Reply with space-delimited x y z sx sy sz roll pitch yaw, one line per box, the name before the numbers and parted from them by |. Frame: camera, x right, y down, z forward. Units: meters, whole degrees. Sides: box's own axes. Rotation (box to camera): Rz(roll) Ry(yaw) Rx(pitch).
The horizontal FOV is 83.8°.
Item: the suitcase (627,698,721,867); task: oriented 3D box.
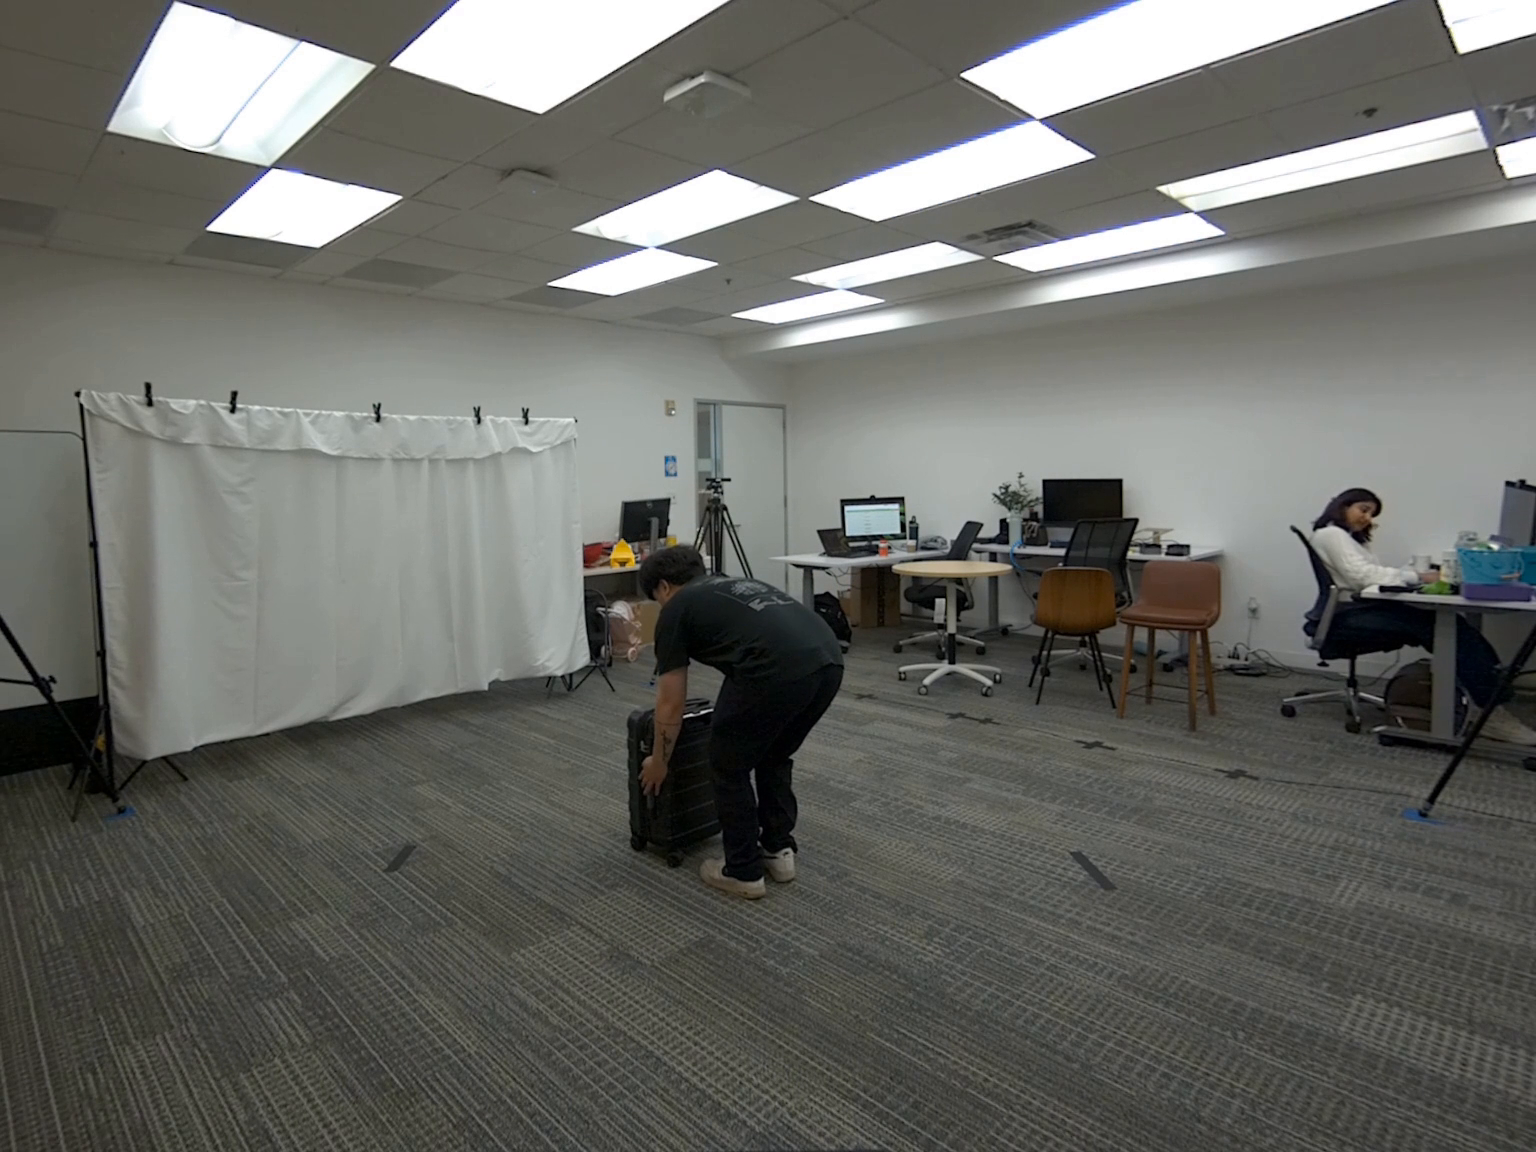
suitcase | -0.346 0.754 3.264 0.366 0.547 0.256 -6 5 -42
